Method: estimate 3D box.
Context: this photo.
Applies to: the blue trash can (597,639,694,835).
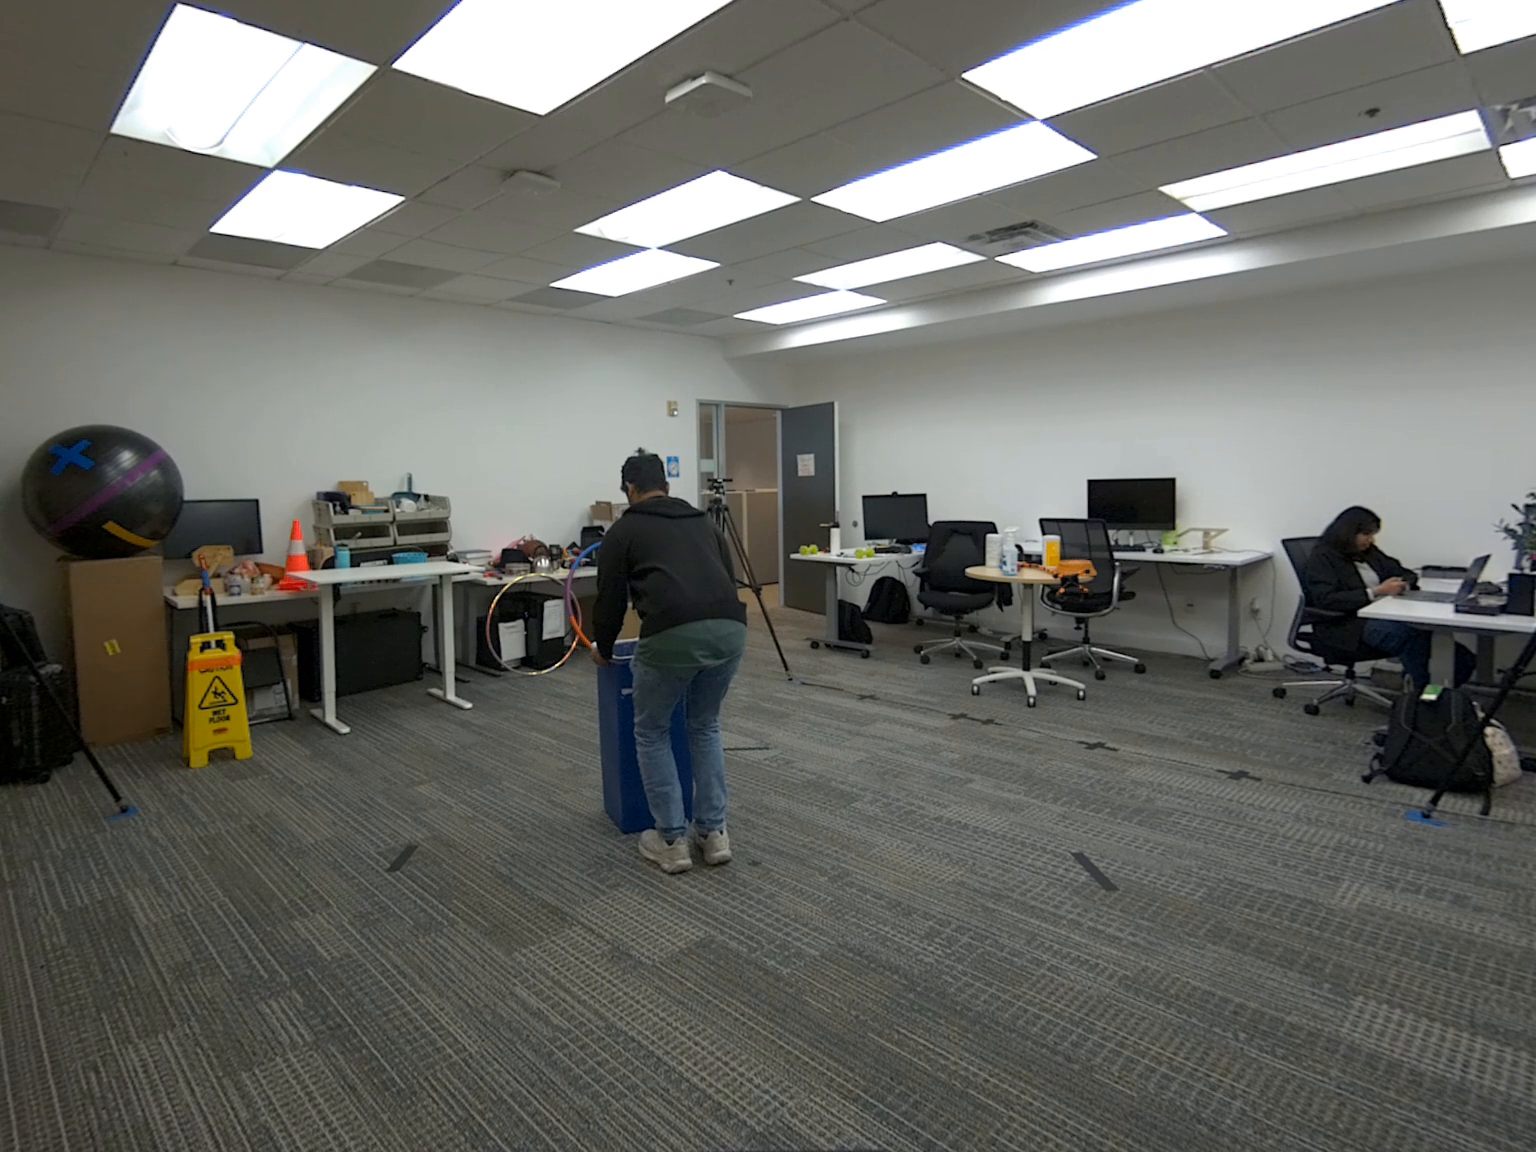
[{"bbox_3d":[-0.503,0.638,3.552,0.366,0.711,0.388,-3,5,-25],"label":"blue trash can"}]
